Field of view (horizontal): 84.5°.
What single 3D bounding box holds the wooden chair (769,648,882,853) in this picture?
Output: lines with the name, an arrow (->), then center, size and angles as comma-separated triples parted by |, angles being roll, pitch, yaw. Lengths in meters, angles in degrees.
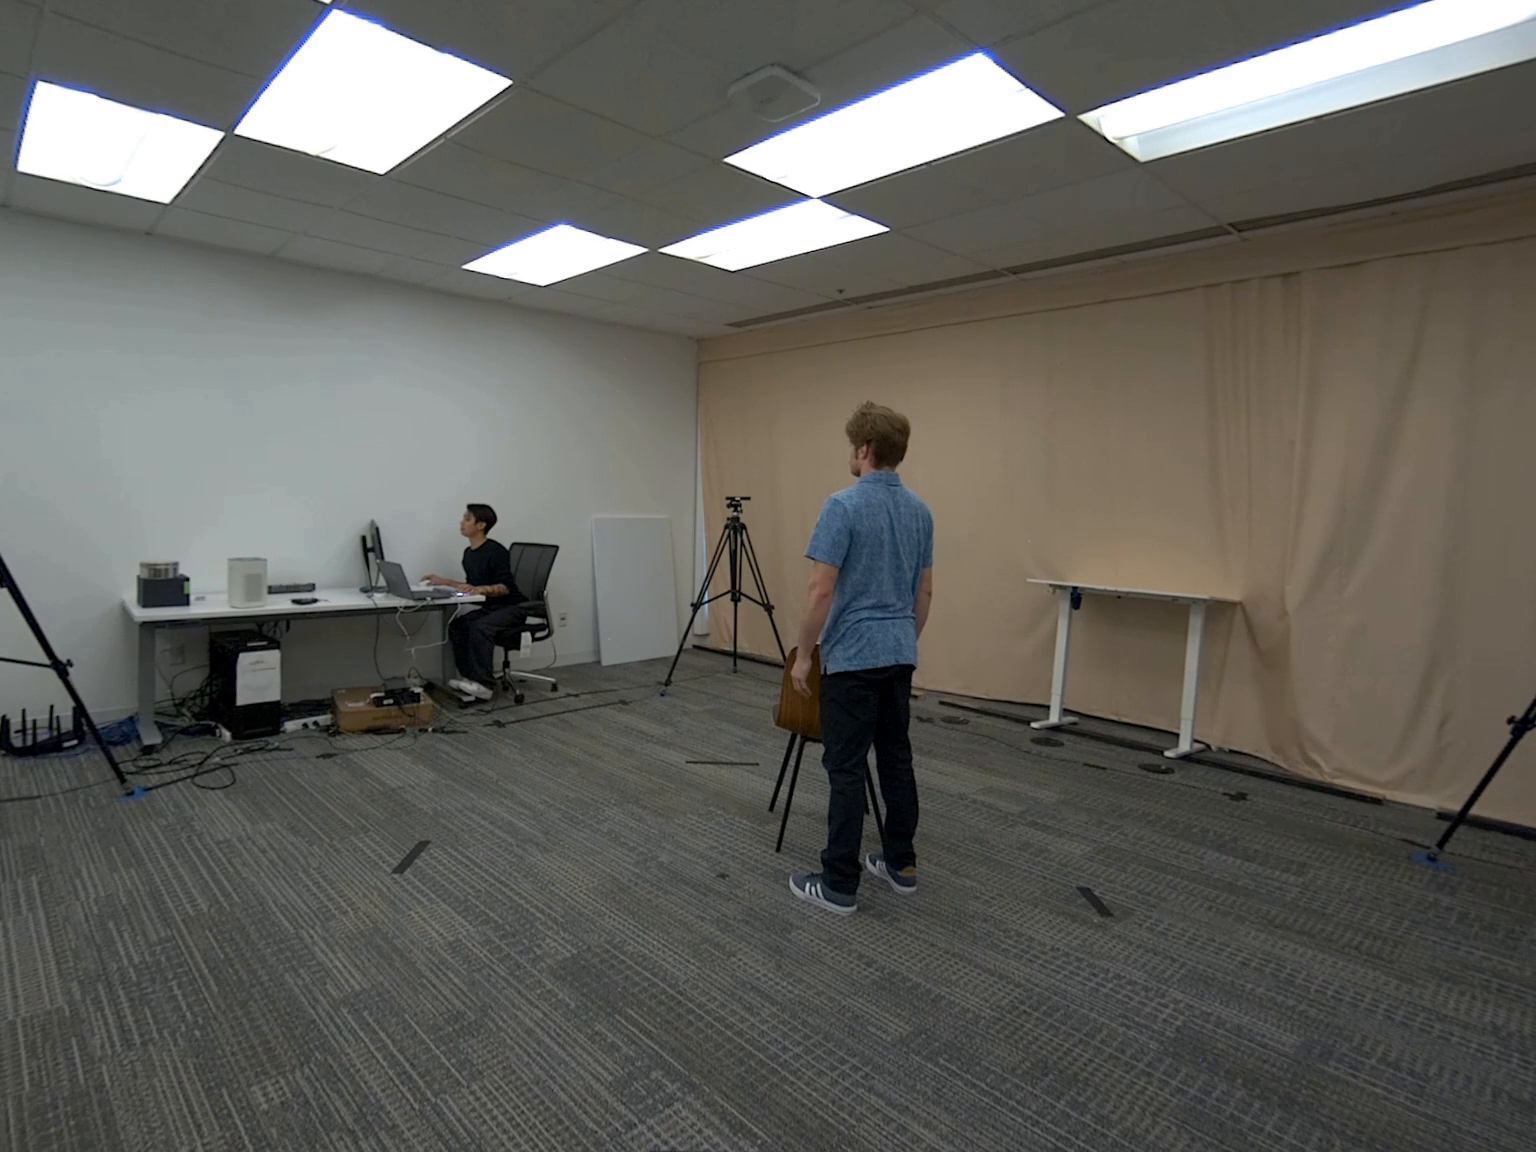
wooden chair -> 0.247, 0.648, 3.526 | 0.477, 0.873, 0.527 | 1, 7, -2
